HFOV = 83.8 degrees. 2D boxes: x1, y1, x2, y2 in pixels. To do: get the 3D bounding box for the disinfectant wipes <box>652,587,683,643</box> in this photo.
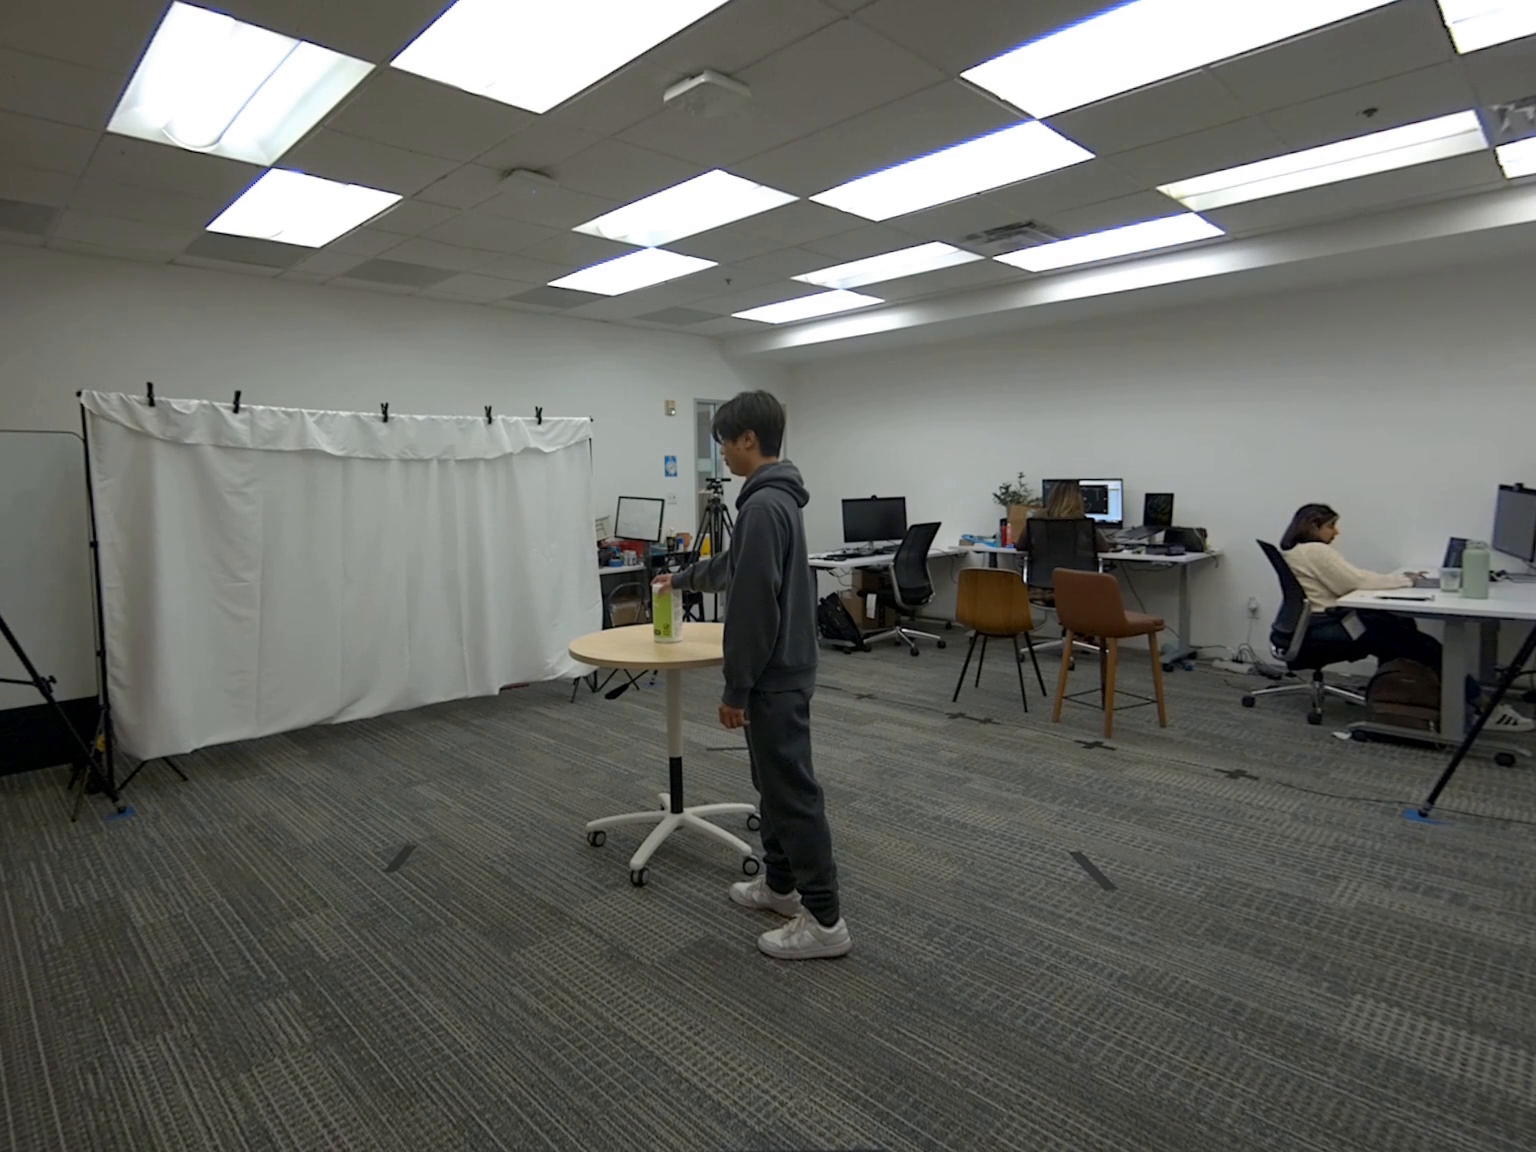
[{"bbox_3d":[-0.372,0.137,3.183,0.118,0.216,0.118,-1,5,-2],"label":"disinfectant wipes"}]
